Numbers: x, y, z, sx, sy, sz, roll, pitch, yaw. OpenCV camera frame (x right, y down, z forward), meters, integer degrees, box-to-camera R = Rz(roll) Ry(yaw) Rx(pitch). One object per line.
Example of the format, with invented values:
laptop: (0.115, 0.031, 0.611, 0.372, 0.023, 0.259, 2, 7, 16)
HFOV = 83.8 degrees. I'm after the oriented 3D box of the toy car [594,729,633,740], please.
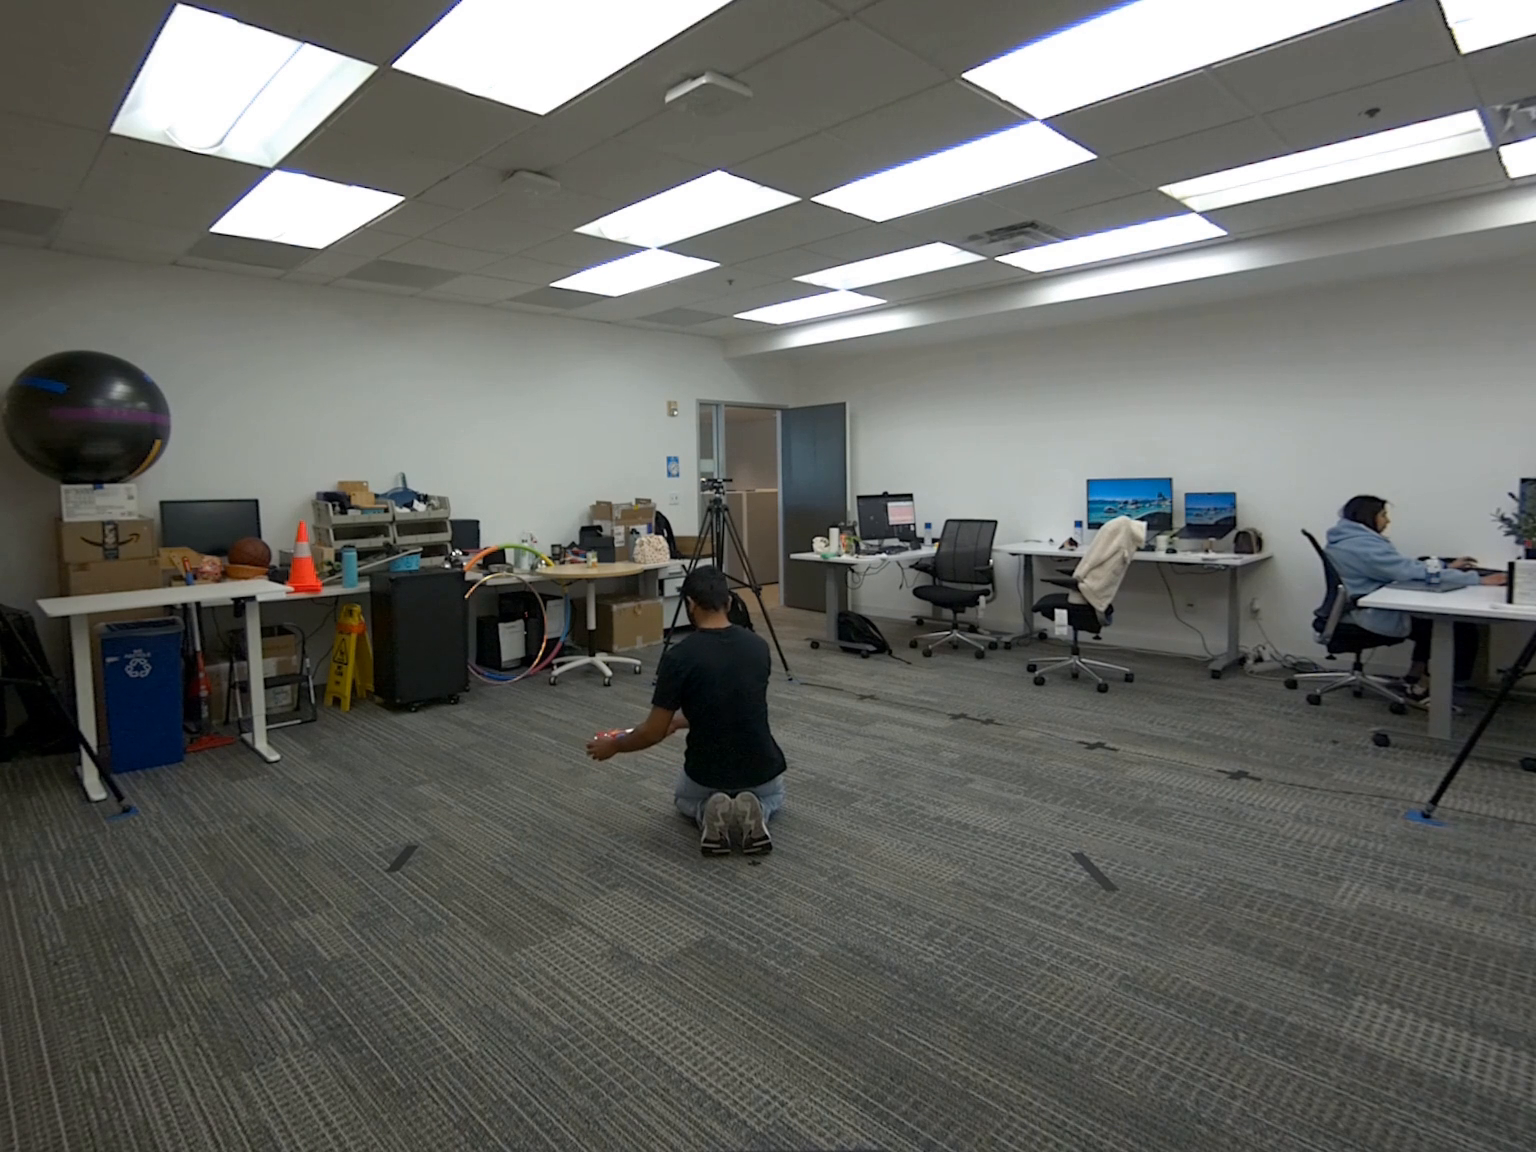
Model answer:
toy car: (-0.615, 0.680, 3.523, 0.248, 0.083, 0.133, 1, -2, -34)
